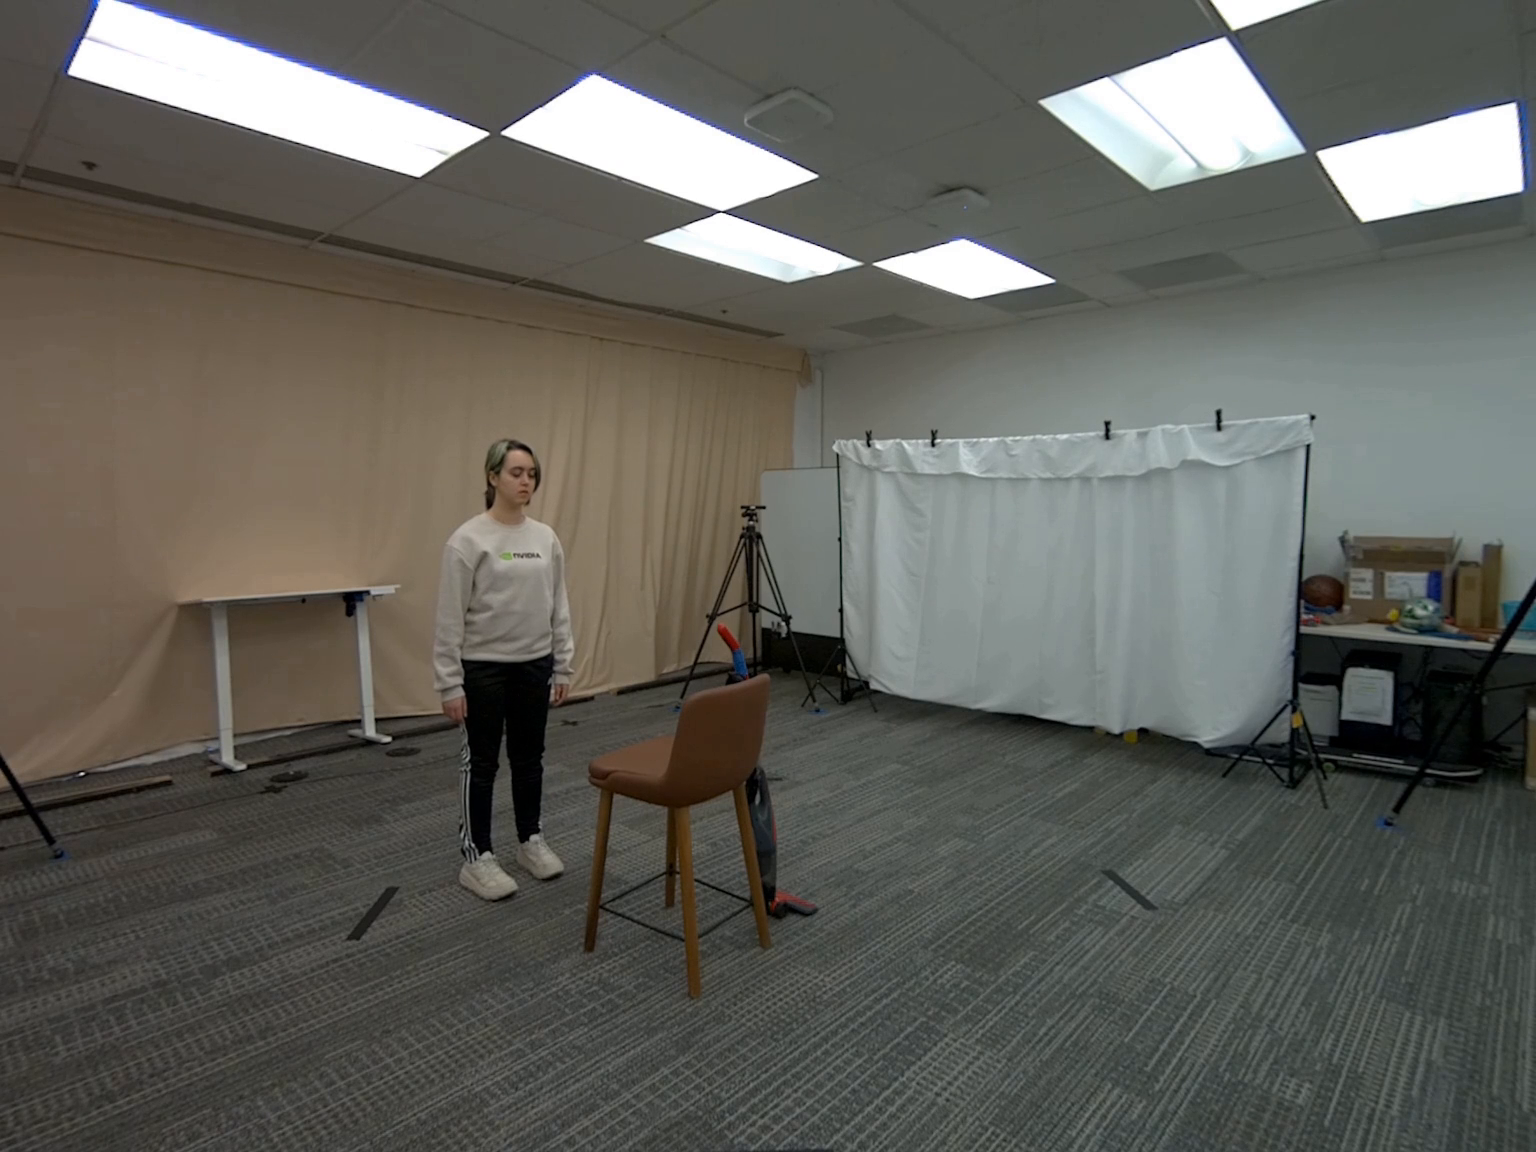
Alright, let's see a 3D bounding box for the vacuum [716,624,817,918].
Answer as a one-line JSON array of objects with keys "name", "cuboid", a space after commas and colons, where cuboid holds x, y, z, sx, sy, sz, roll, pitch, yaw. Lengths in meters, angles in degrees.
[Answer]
[{"name": "vacuum", "cuboid": [-0.052, 0.651, 2.788, 0.141, 1.038, 0.261, -22, 17, -39]}]
